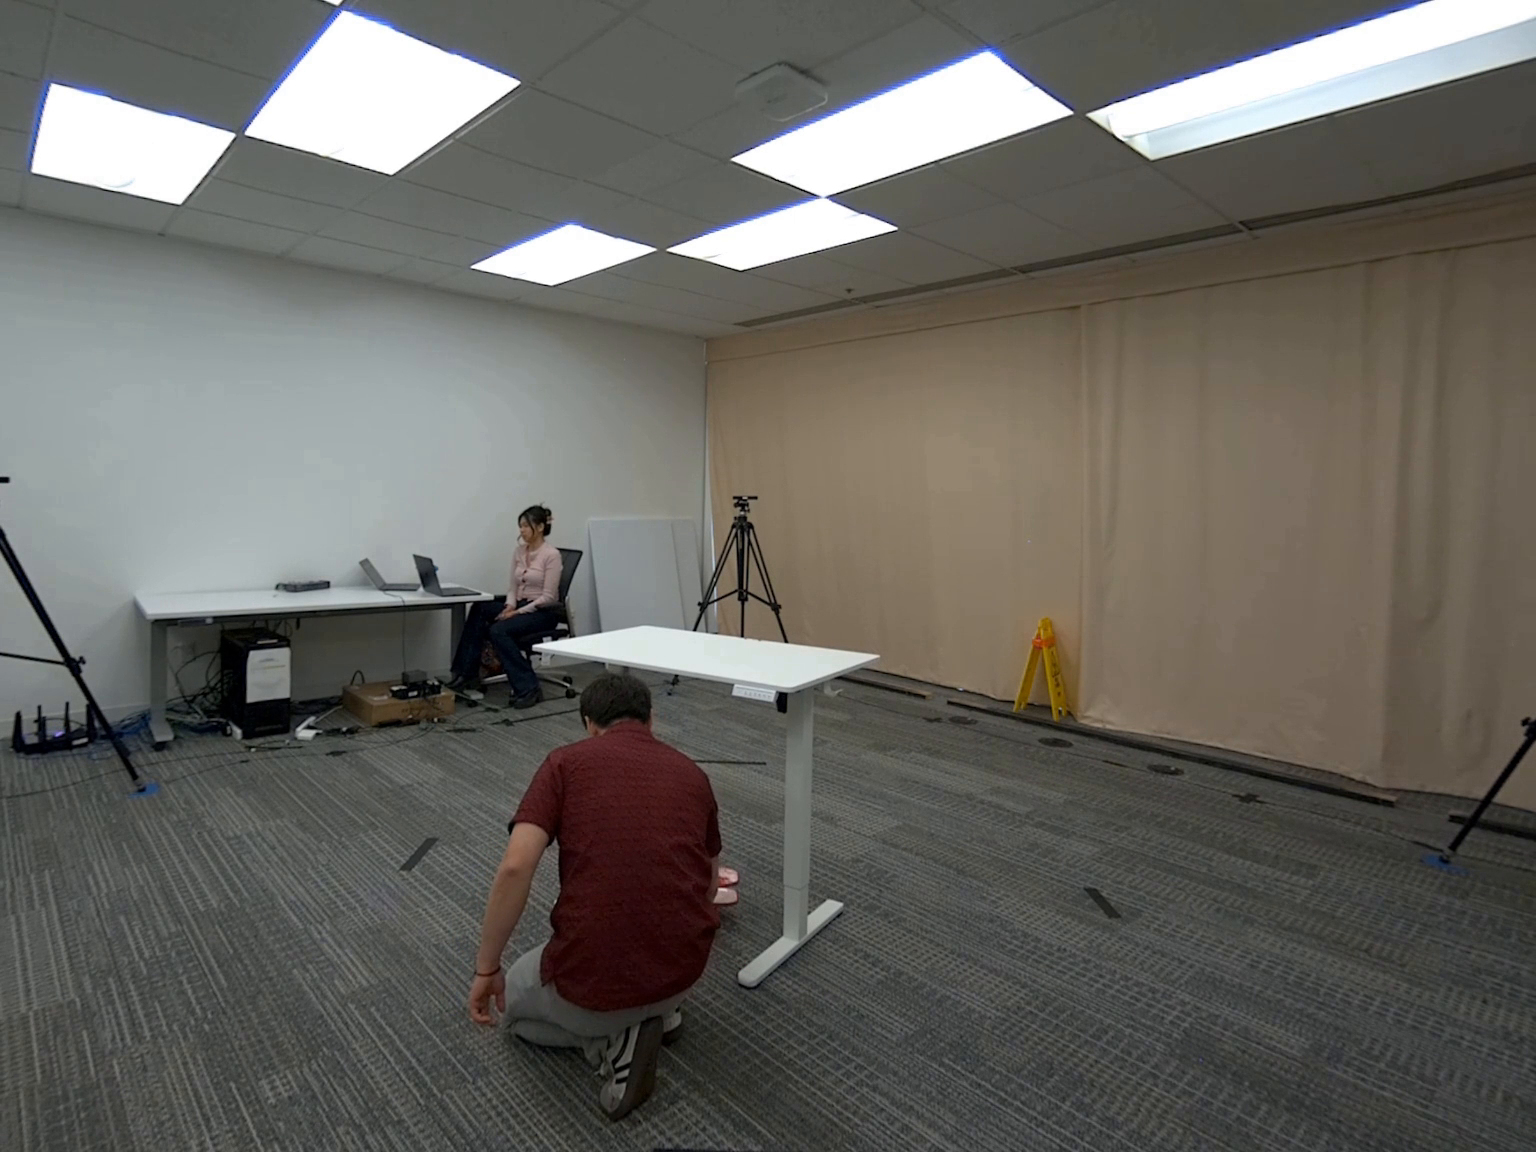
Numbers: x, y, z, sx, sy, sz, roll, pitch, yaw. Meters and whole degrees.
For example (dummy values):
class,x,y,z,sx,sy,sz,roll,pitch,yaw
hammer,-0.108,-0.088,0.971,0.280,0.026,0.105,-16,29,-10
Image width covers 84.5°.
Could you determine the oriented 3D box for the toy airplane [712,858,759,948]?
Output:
class,x,y,z,sx,sy,sz,roll,pitch,yaw
toy airplane,-0.207,1.063,2.752,0.246,0.156,0.265,-1,4,-28
